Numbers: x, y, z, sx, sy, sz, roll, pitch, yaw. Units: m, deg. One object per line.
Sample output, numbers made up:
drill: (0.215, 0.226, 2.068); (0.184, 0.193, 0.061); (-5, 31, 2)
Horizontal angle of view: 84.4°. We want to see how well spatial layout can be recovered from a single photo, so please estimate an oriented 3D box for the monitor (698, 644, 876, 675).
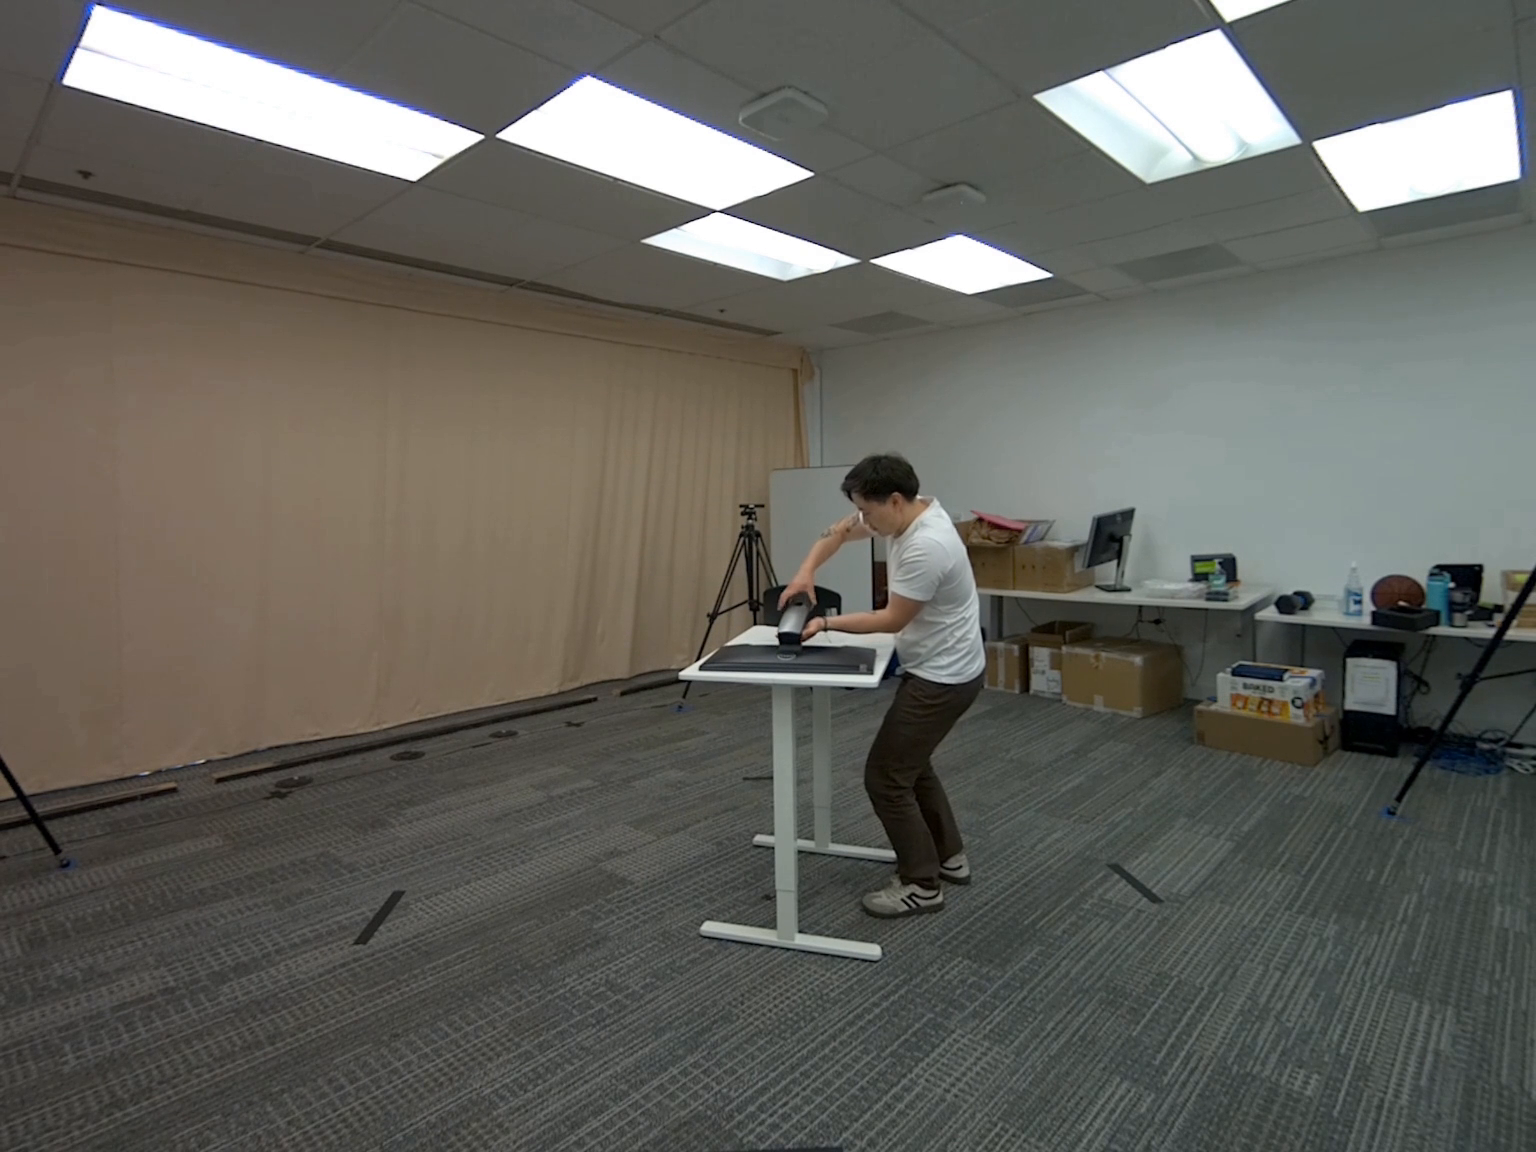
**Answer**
monitor: (0.096, 0.211, 2.797); (0.546, 0.184, 0.523); (-1, 23, 12)
